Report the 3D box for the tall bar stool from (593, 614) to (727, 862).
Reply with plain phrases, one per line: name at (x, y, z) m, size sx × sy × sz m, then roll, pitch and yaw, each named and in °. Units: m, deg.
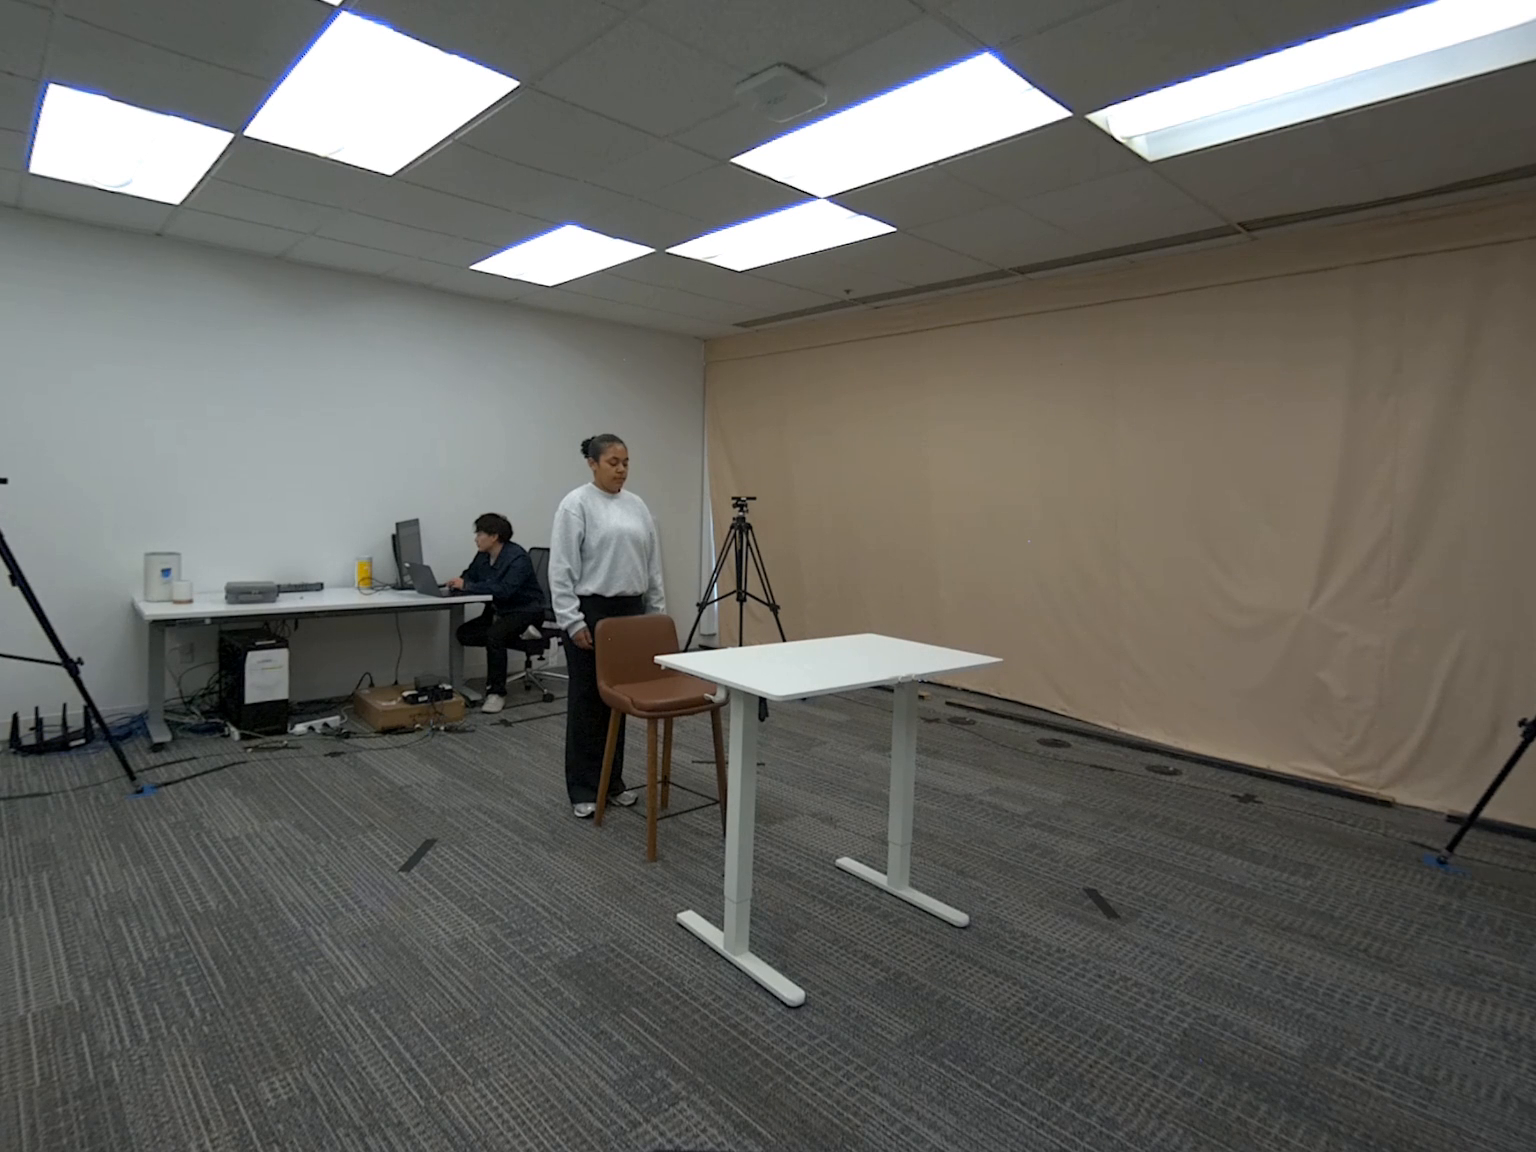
tall bar stool at (-0.451, 0.626, 3.482) m, size 0.446 × 0.889 × 0.479 m, roll -1°, pitch 2°, yaw -41°
